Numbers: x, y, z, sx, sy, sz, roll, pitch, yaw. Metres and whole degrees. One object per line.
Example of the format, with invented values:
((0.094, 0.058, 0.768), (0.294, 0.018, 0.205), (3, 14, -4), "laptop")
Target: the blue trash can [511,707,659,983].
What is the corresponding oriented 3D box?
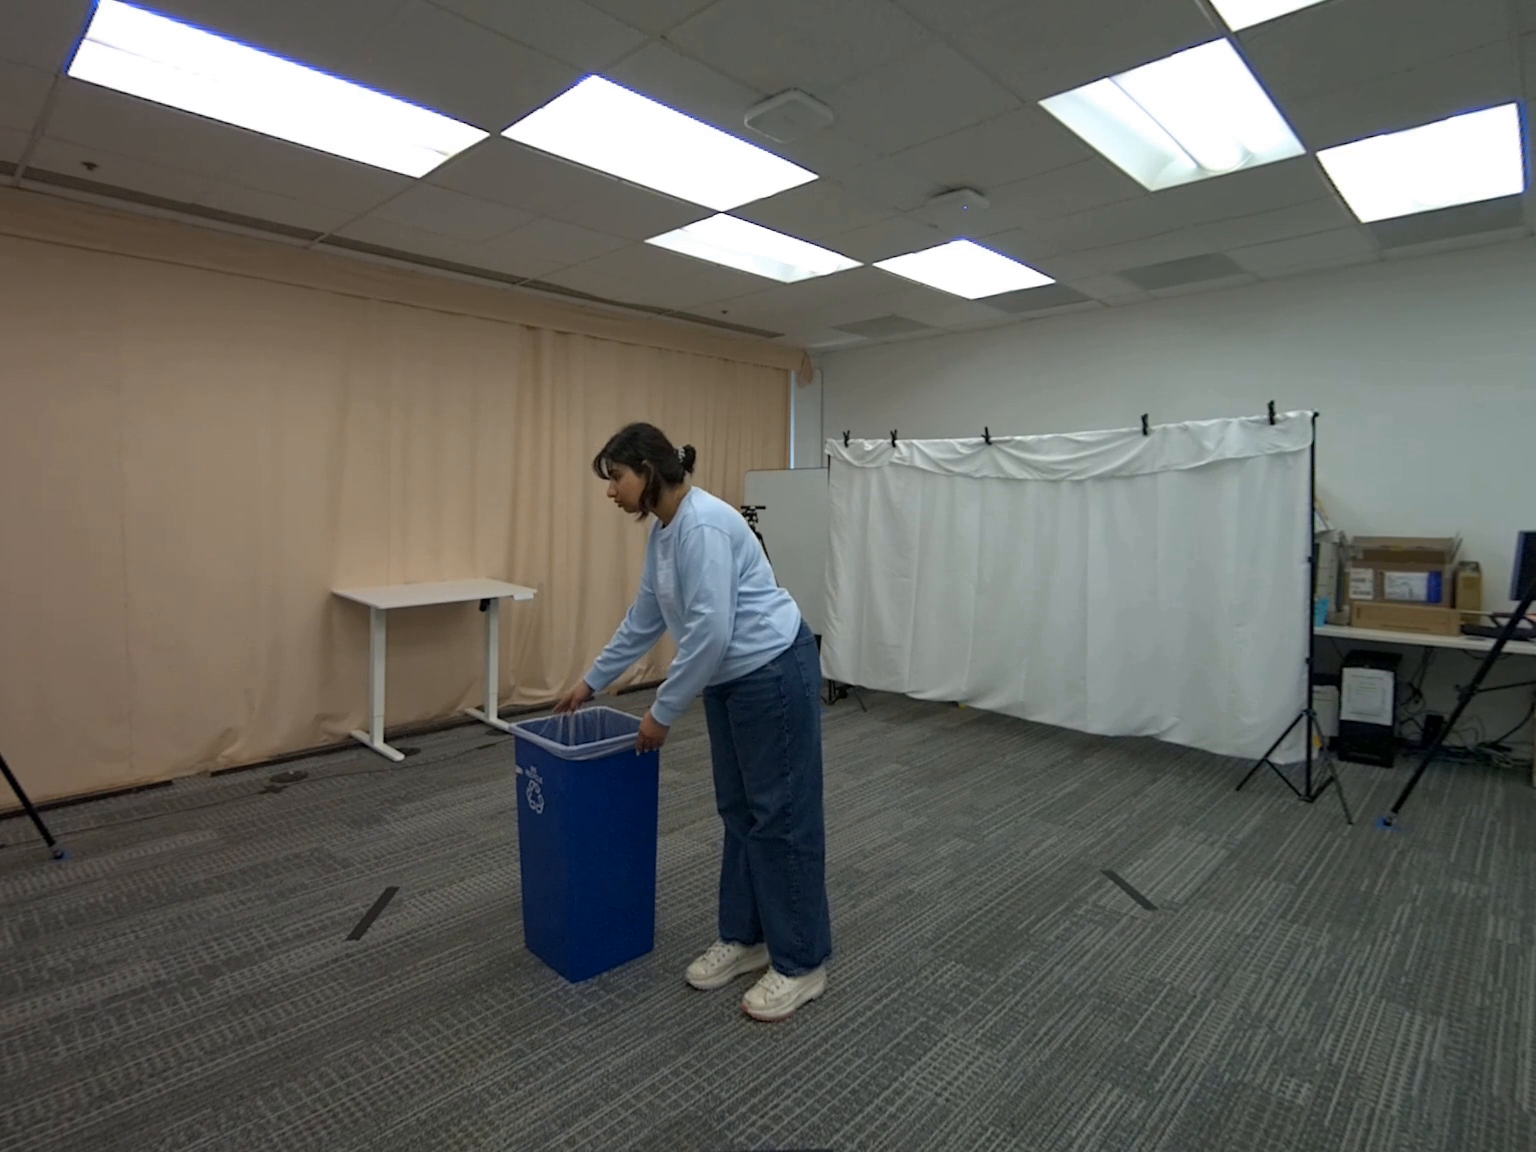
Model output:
((-0.556, 0.820, 2.636), (0.366, 0.712, 0.386), (-4, 5, -44), "blue trash can")
